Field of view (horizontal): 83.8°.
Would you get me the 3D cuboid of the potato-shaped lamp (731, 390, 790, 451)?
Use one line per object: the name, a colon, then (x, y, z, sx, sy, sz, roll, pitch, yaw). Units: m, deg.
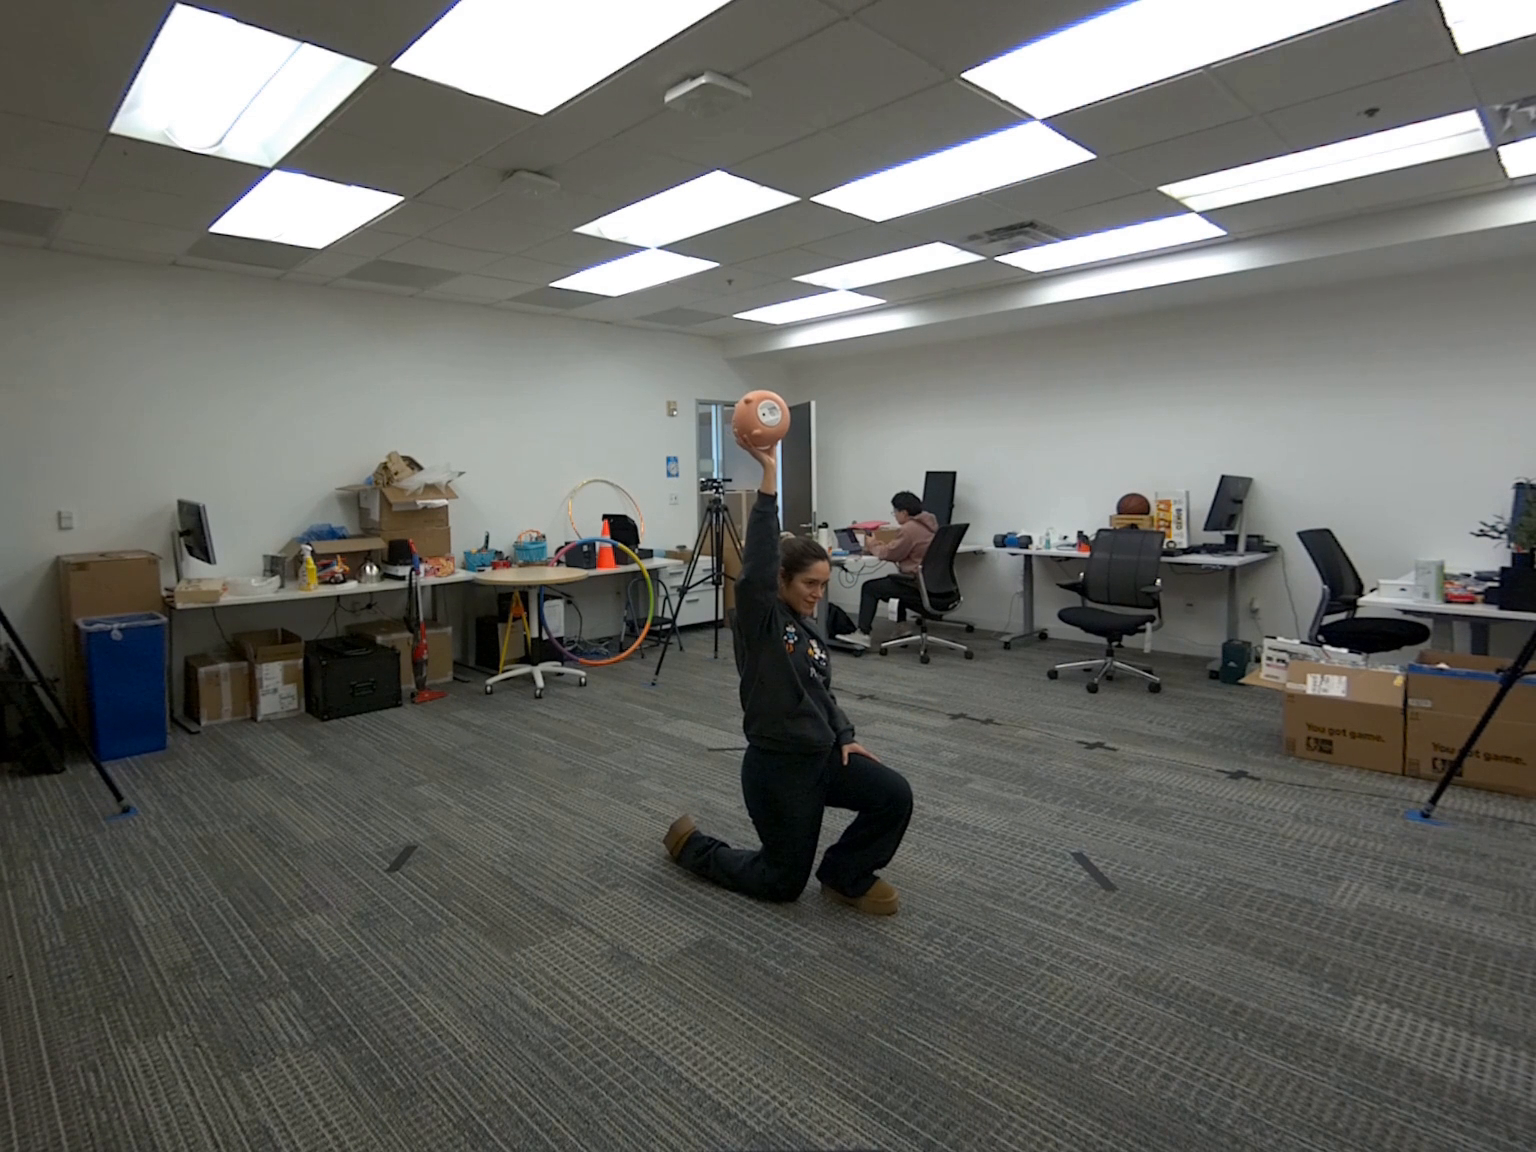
potato-shaped lamp: (-0.034, -0.466, 2.565, 0.168, 0.165, 0.201, -17, 1, -28)
